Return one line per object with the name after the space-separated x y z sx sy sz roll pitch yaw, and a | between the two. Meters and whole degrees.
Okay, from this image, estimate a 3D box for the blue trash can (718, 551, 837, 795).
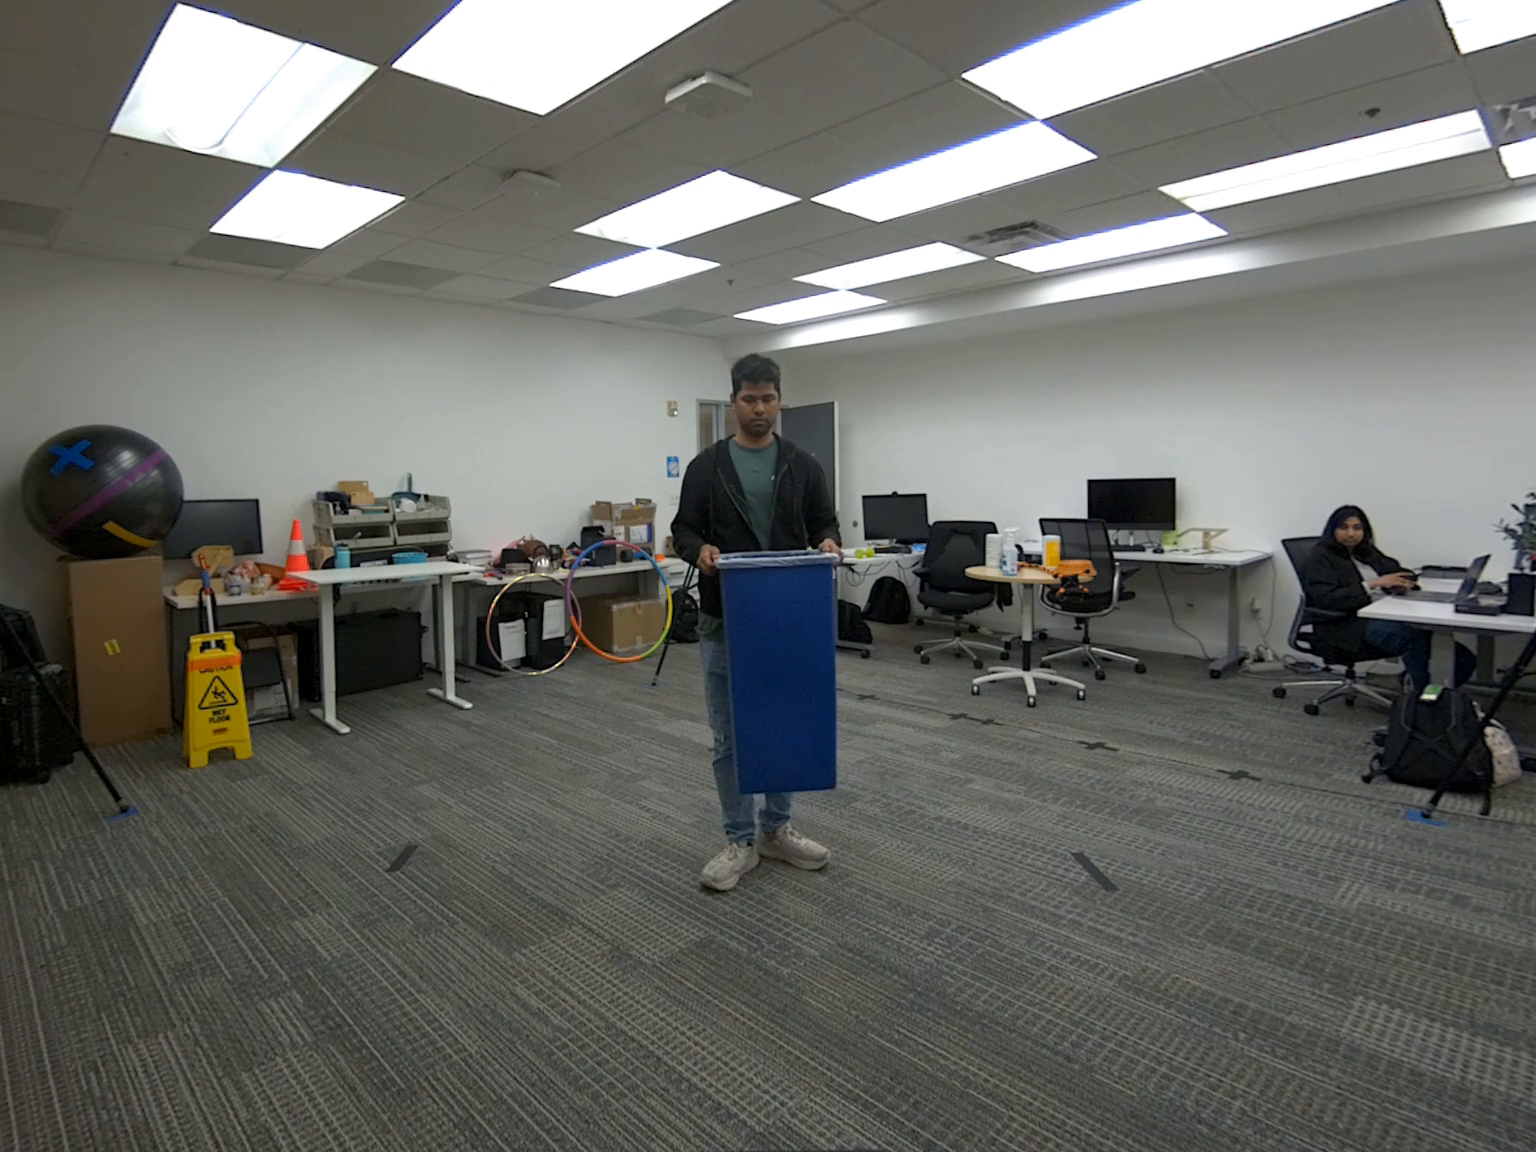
0.026 0.297 2.724 0.373 0.713 0.380 -3 1 -4 | blue trash can
